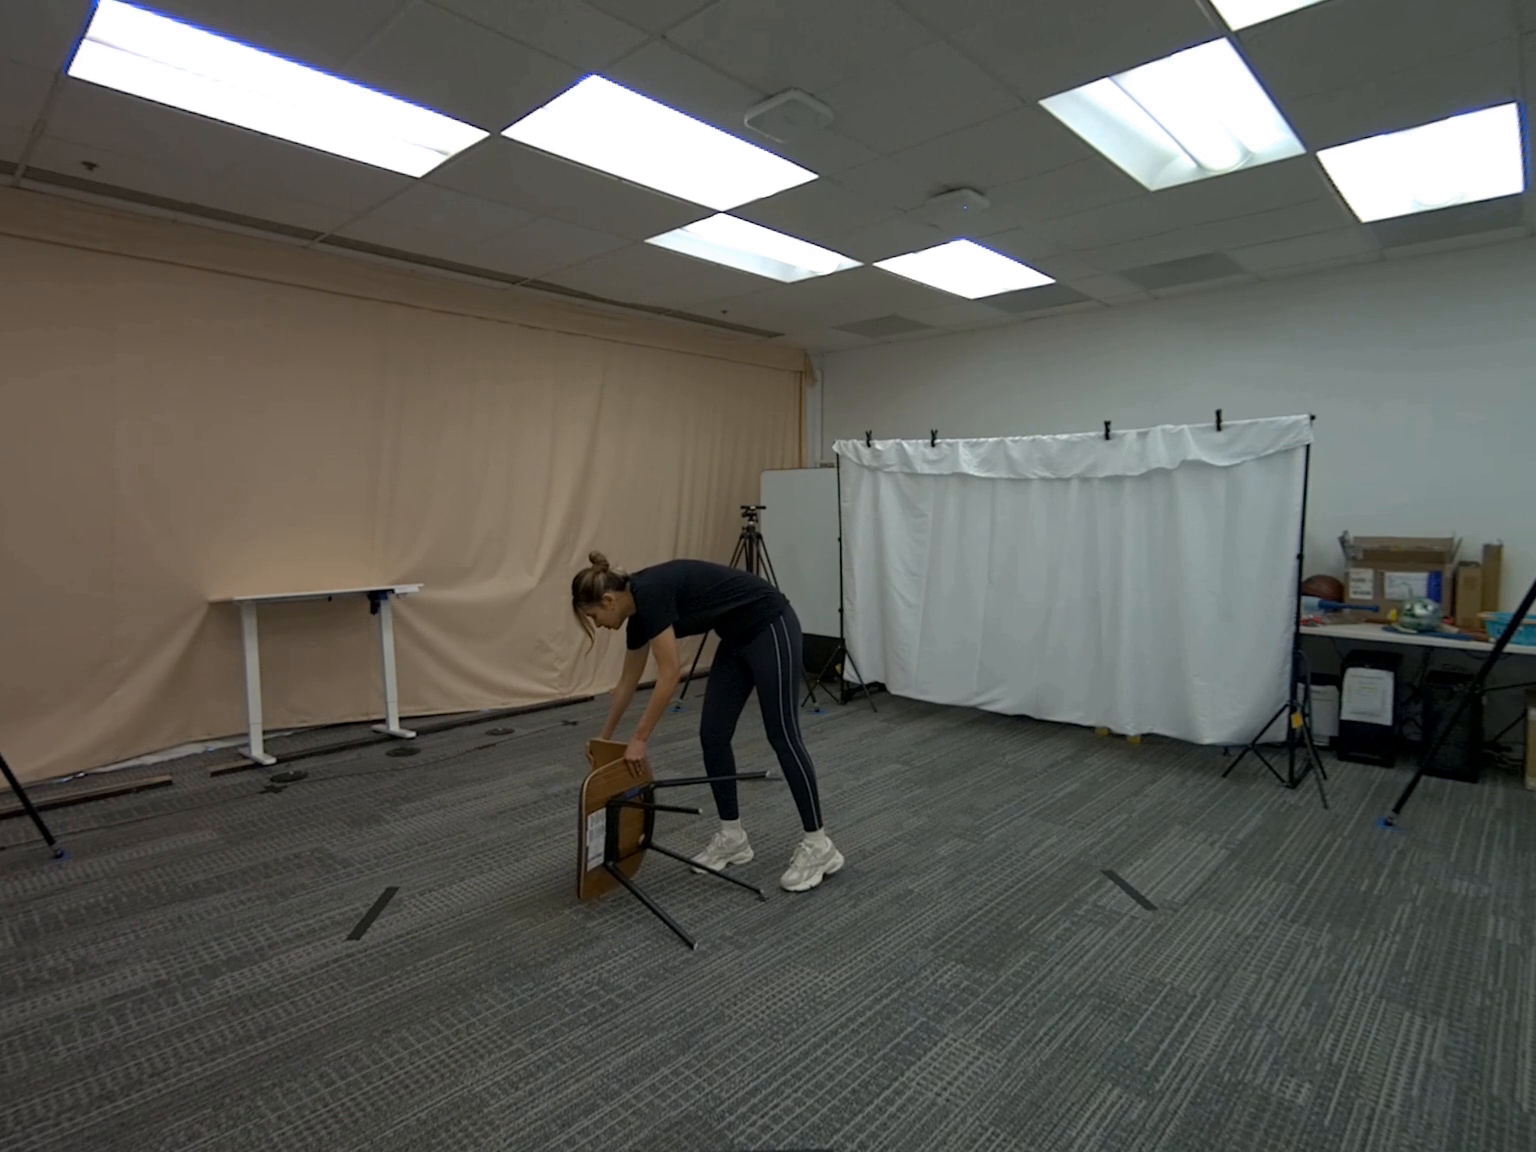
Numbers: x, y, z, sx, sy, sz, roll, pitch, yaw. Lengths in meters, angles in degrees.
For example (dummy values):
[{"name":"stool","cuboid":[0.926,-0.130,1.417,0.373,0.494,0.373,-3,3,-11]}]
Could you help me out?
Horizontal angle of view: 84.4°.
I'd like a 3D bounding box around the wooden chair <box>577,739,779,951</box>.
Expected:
[{"name":"wooden chair","cuboid":[-0.490,0.896,3.023,0.905,0.476,0.508,6,7,34]}]
